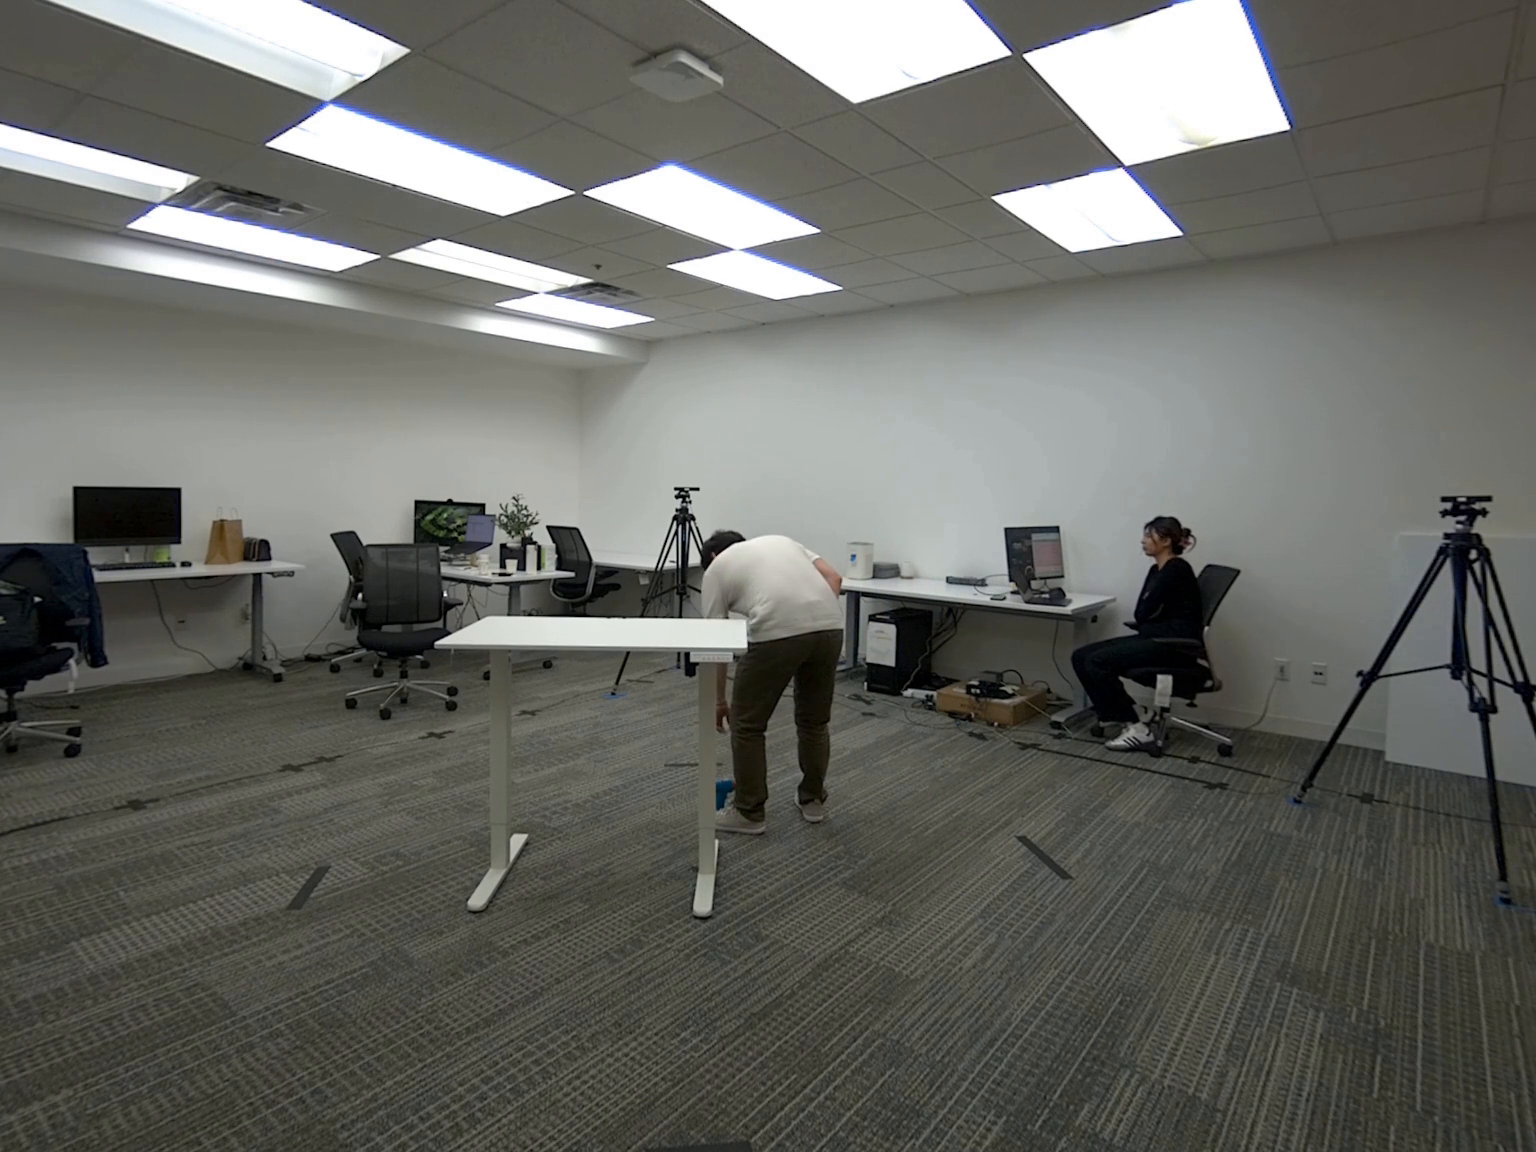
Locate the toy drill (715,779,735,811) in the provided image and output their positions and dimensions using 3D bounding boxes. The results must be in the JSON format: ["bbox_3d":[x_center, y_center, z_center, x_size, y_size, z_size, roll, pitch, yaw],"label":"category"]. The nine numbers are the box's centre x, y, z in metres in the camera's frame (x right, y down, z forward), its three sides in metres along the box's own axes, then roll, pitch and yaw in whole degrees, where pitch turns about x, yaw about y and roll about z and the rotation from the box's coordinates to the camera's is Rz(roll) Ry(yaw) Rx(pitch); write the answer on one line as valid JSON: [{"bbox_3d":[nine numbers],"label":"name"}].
[{"bbox_3d":[-0.168,0.941,3.669,0.168,0.145,0.062,0,6,-9],"label":"toy drill"}]
